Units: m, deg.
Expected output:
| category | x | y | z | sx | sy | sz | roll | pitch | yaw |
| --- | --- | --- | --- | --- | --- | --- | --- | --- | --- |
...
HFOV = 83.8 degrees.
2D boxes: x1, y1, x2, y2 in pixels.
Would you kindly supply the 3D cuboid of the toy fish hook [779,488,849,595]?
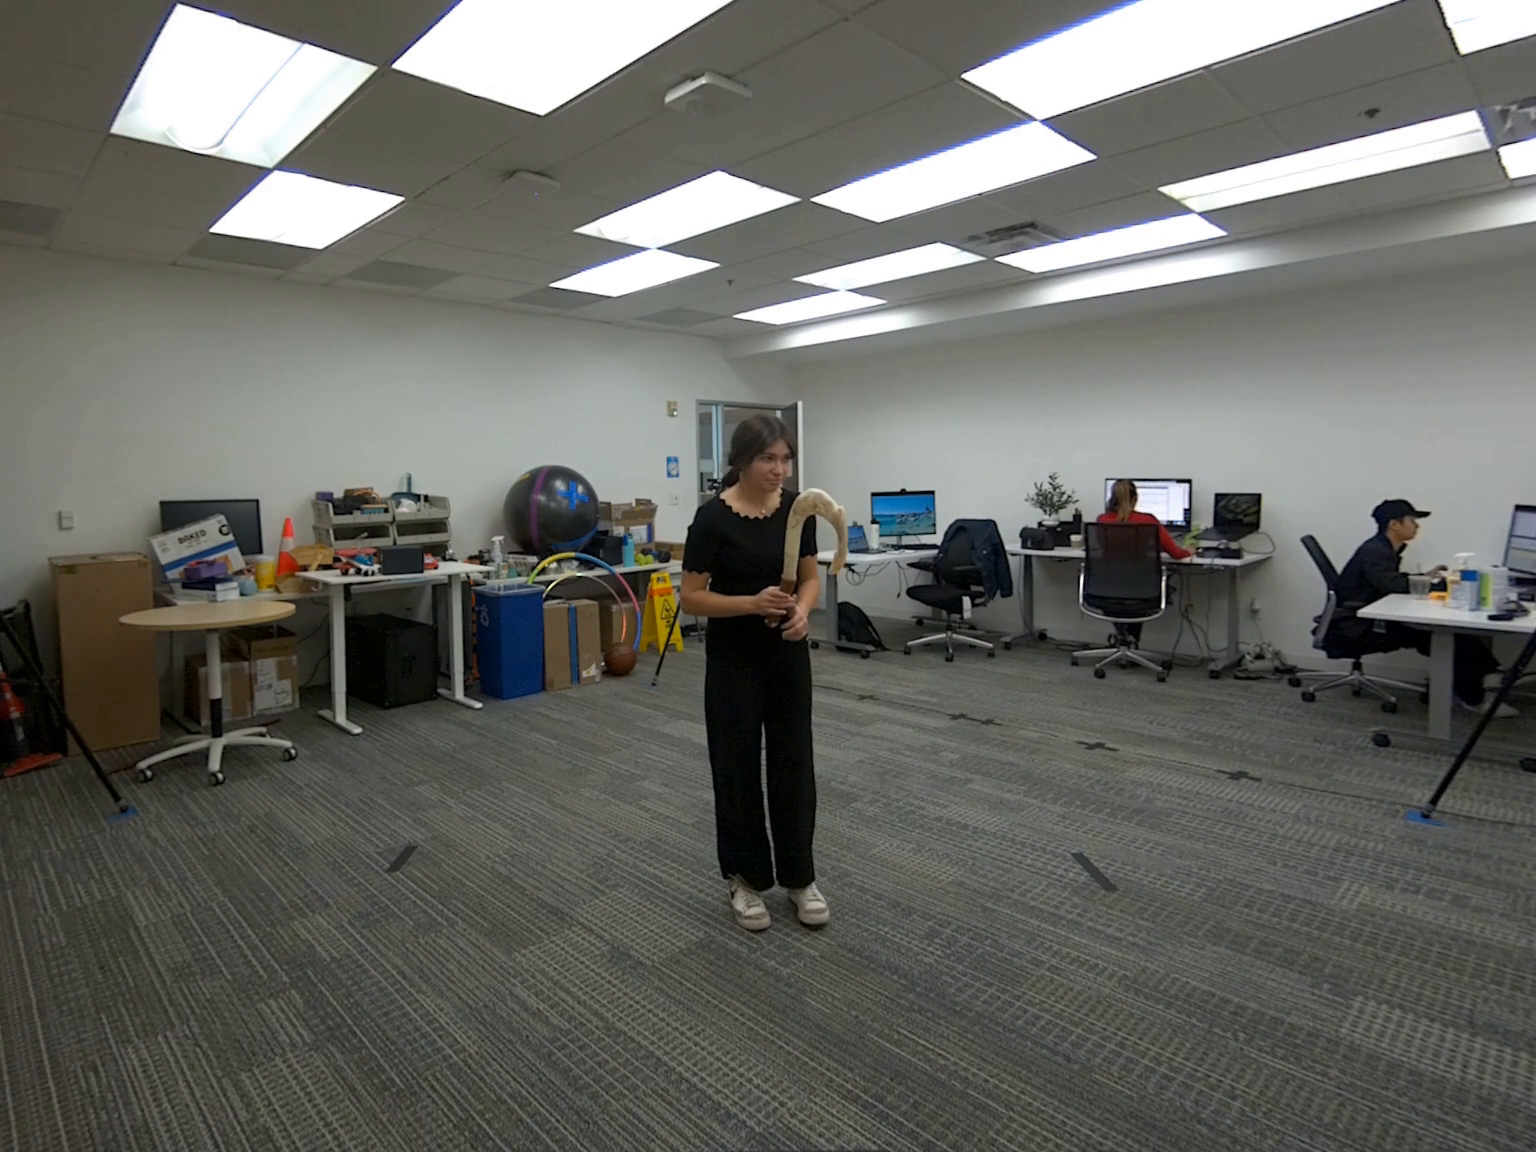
| category | x | y | z | sx | sy | sz | roll | pitch | yaw |
| --- | --- | --- | --- | --- | --- | --- | --- | --- | --- |
| toy fish hook | 0.107 | -0.004 | 2.405 | 0.047 | 0.498 | 0.233 | -11 | 43 | -34 |
